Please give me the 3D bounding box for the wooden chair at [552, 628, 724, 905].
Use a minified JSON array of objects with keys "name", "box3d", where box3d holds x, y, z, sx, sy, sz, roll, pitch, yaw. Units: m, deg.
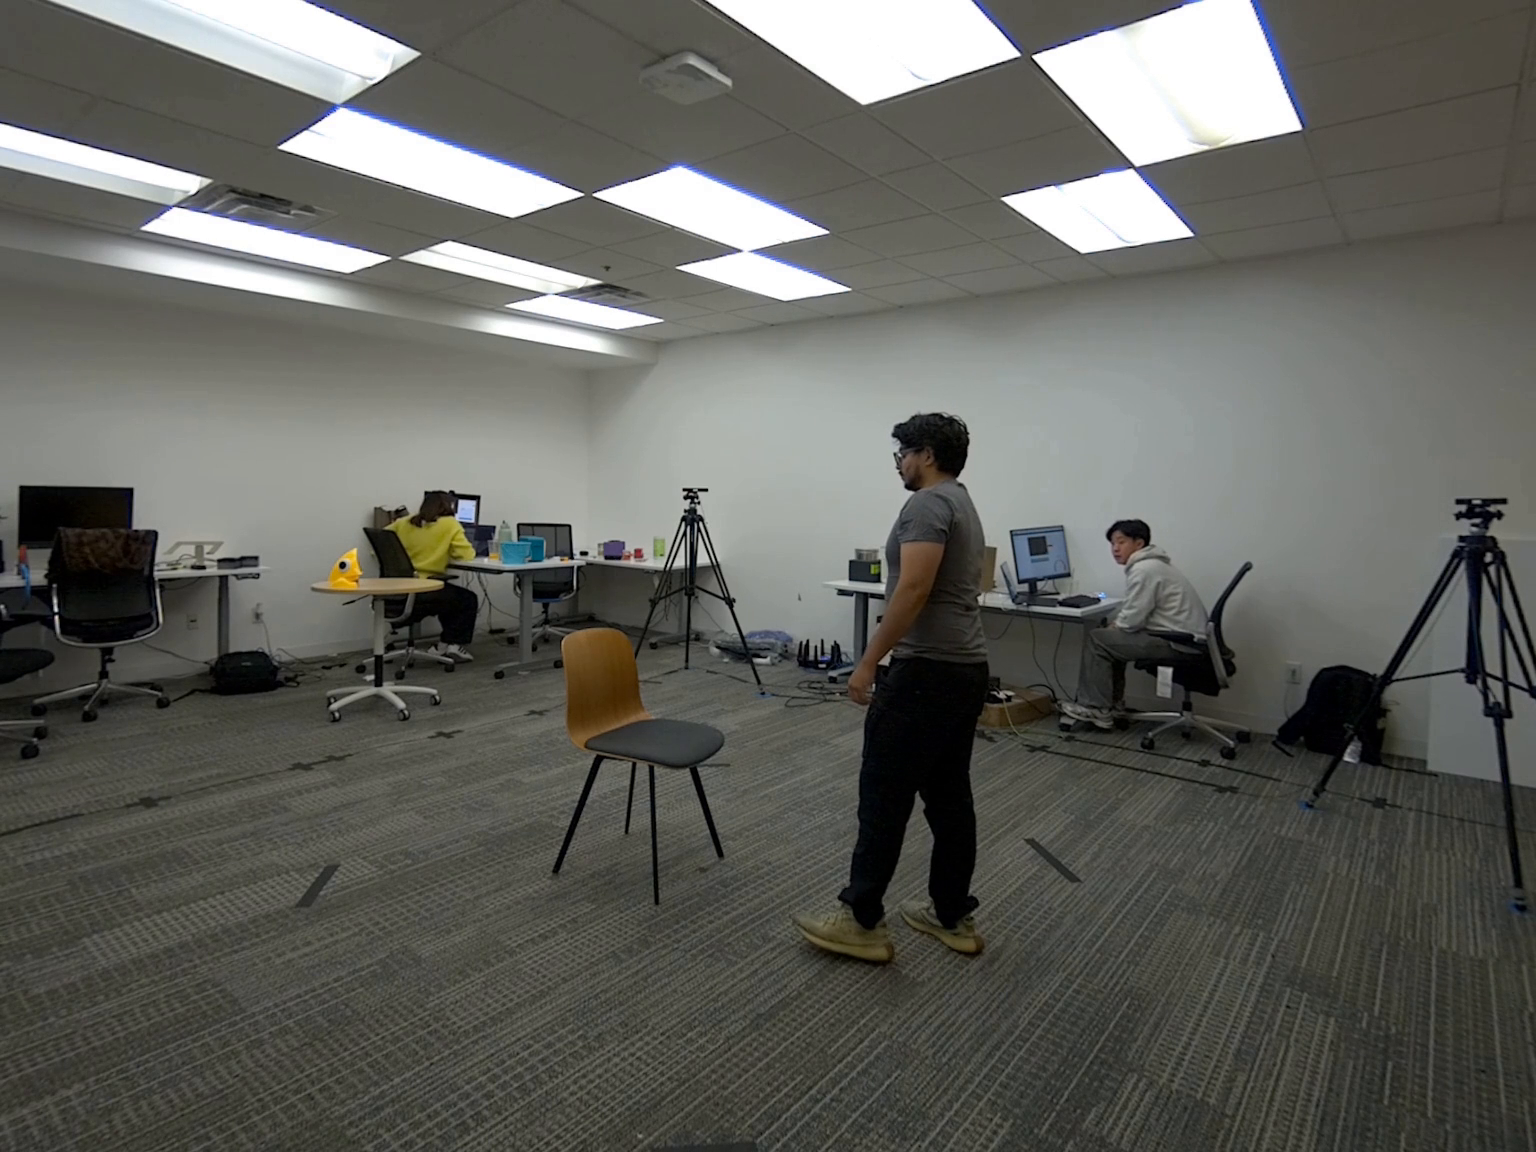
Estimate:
[{"name":"wooden chair","box3d":[-0.462,0.637,3.103,0.537,0.877,0.466,-2,1,28]}]
